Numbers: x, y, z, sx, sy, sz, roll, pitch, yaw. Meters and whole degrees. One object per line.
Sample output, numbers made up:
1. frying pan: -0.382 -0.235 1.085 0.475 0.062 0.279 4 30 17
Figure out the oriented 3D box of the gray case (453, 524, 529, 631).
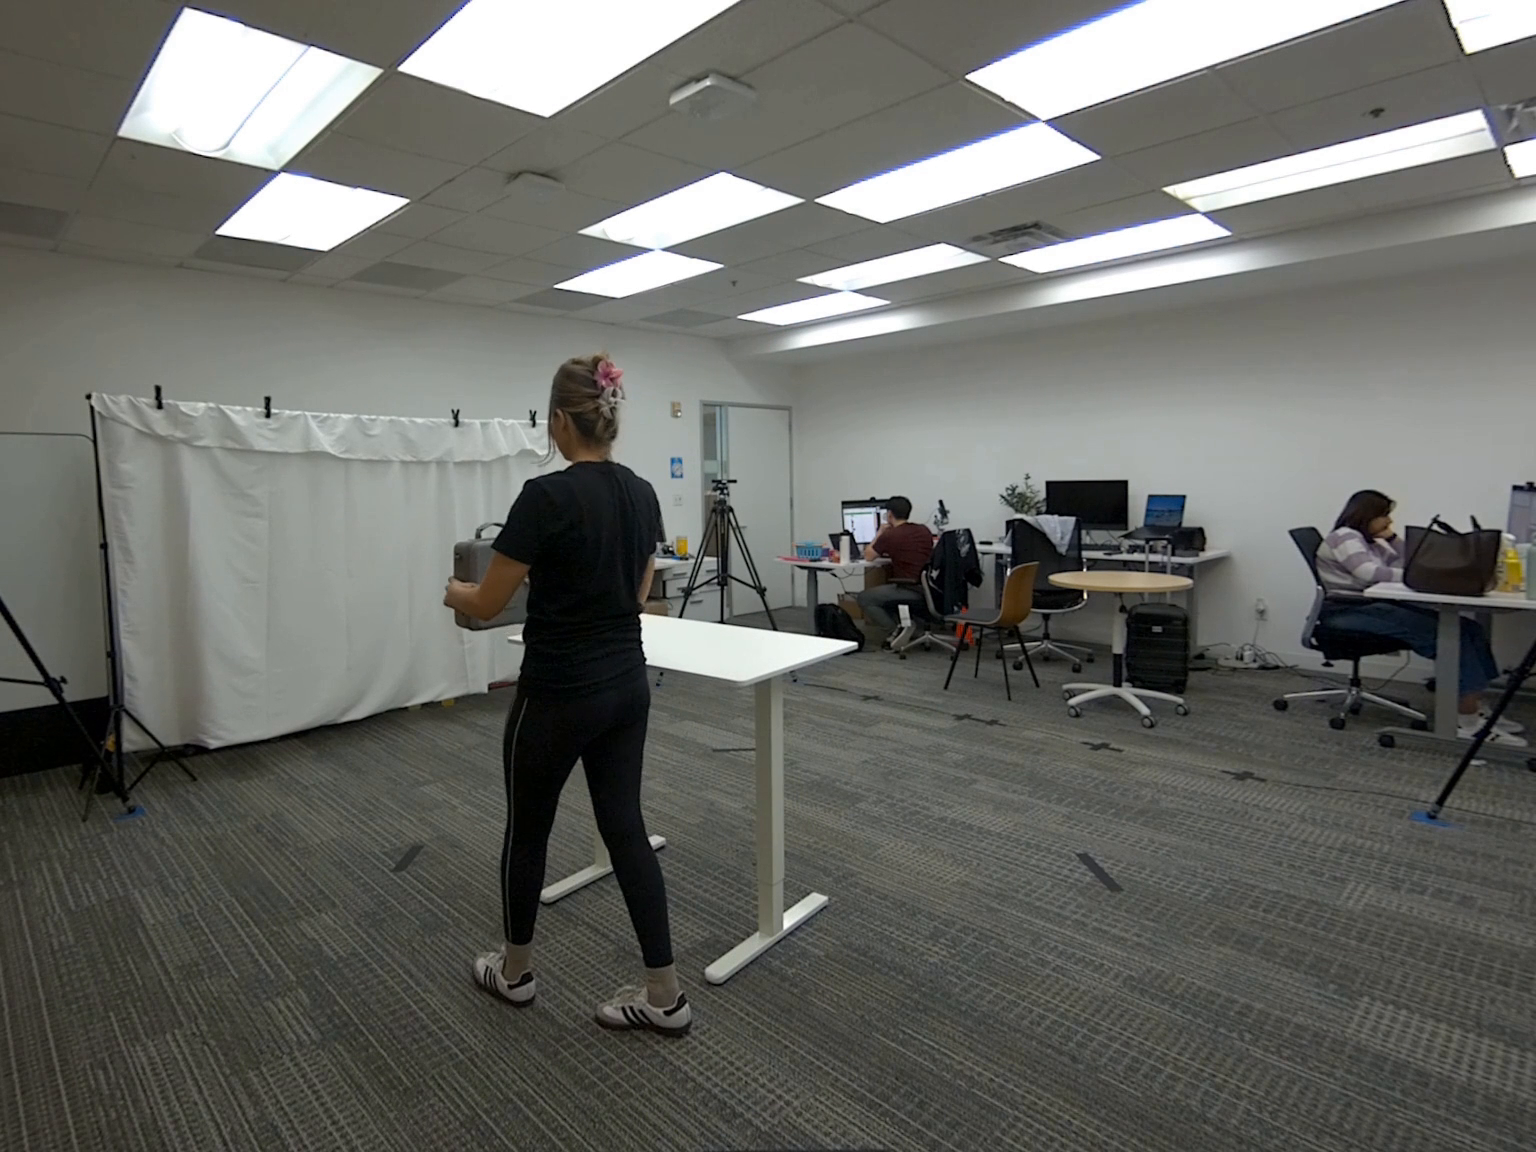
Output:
1. gray case: -0.773 0.012 2.446 0.107 0.260 0.250 1 4 34
